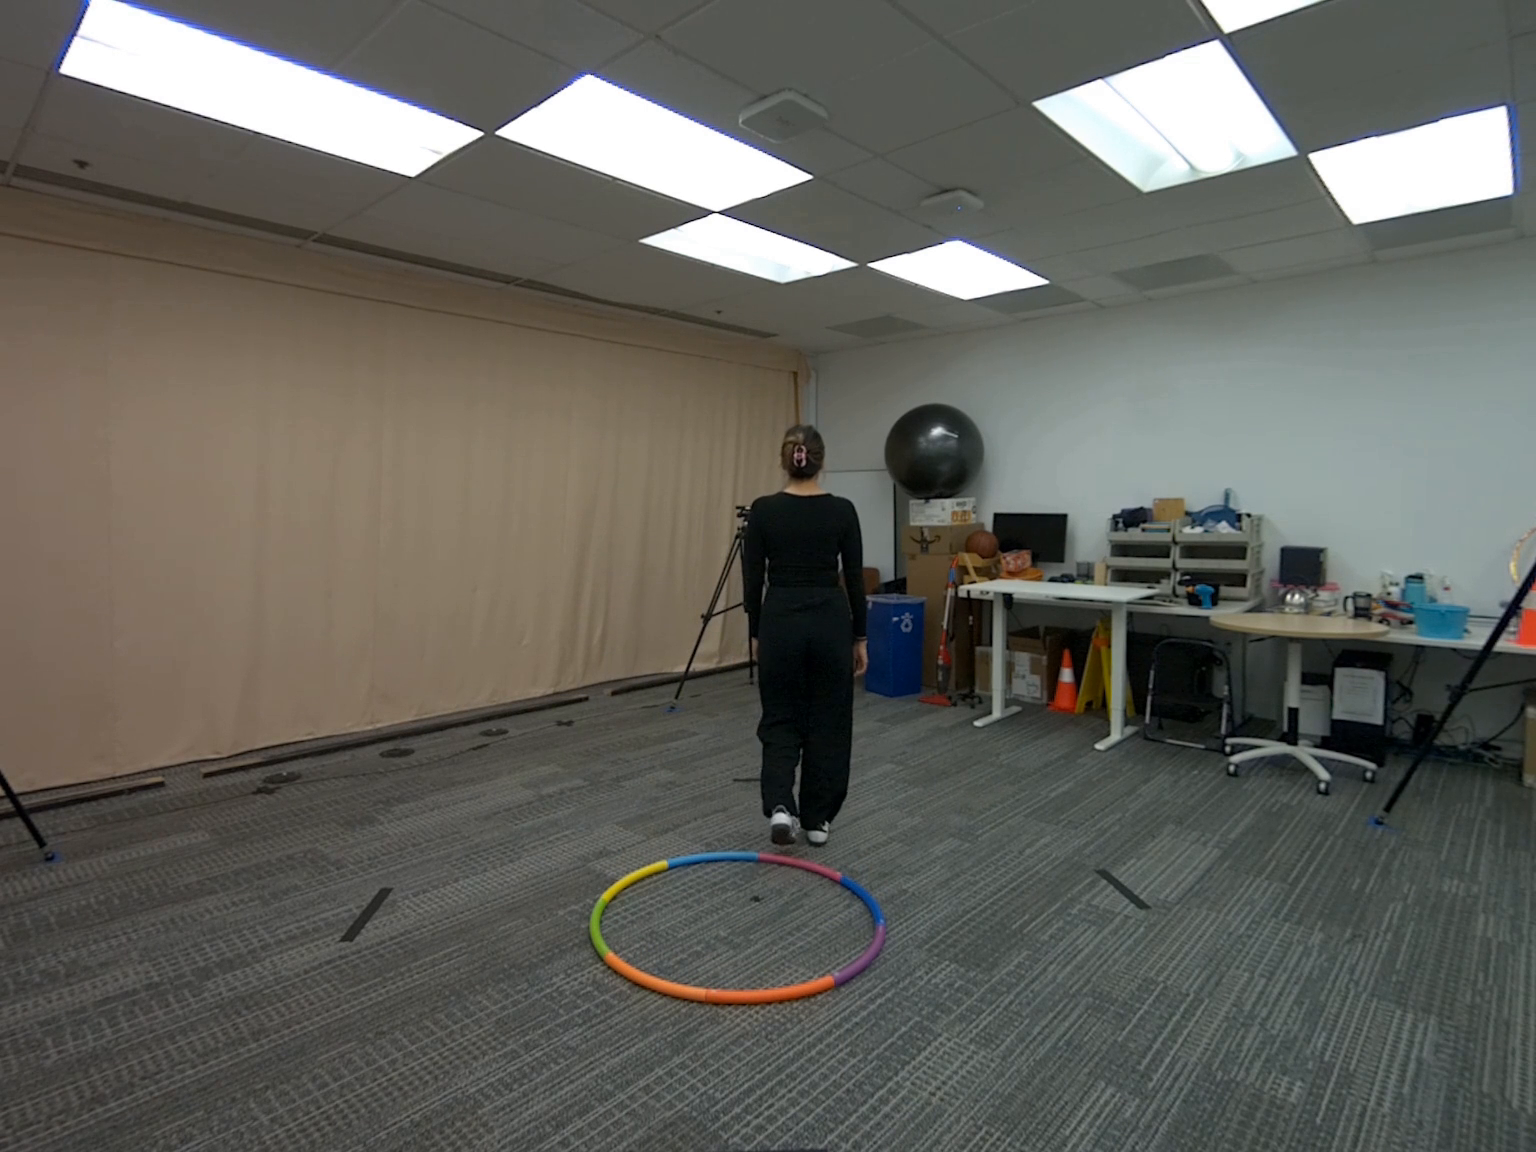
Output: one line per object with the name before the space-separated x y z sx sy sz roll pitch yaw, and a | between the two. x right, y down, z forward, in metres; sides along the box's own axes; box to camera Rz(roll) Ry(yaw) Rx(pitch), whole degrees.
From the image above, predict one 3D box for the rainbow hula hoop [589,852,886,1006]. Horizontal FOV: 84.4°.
rainbow hula hoop | -0.100 1.127 2.832 0.978 0.035 0.982 0 5 -2
